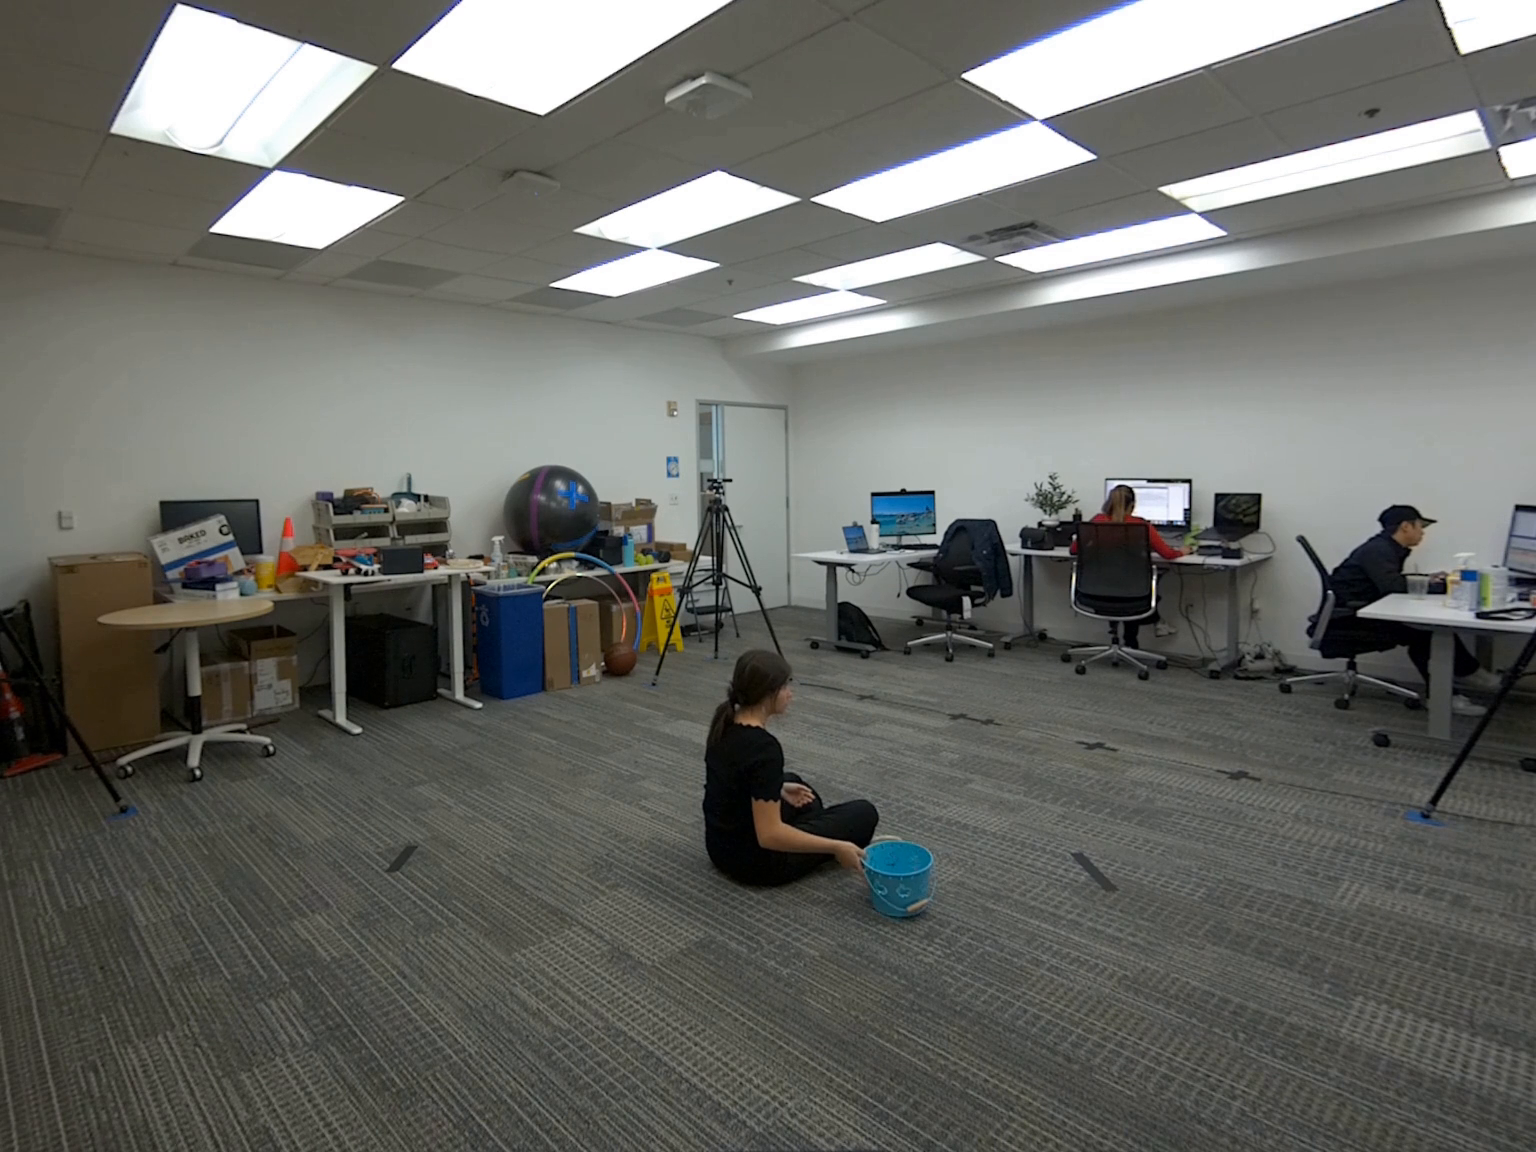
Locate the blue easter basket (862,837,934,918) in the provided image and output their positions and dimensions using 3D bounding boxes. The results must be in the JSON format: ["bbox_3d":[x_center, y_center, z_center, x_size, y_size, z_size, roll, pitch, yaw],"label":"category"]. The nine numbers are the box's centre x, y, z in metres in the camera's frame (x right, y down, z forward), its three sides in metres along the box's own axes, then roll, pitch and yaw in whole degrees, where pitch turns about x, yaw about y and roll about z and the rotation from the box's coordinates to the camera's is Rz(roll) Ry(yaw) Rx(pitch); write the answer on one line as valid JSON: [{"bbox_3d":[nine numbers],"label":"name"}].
[{"bbox_3d":[0.422,0.967,2.775,0.243,0.155,0.245,-5,7,-1],"label":"blue easter basket"}]
